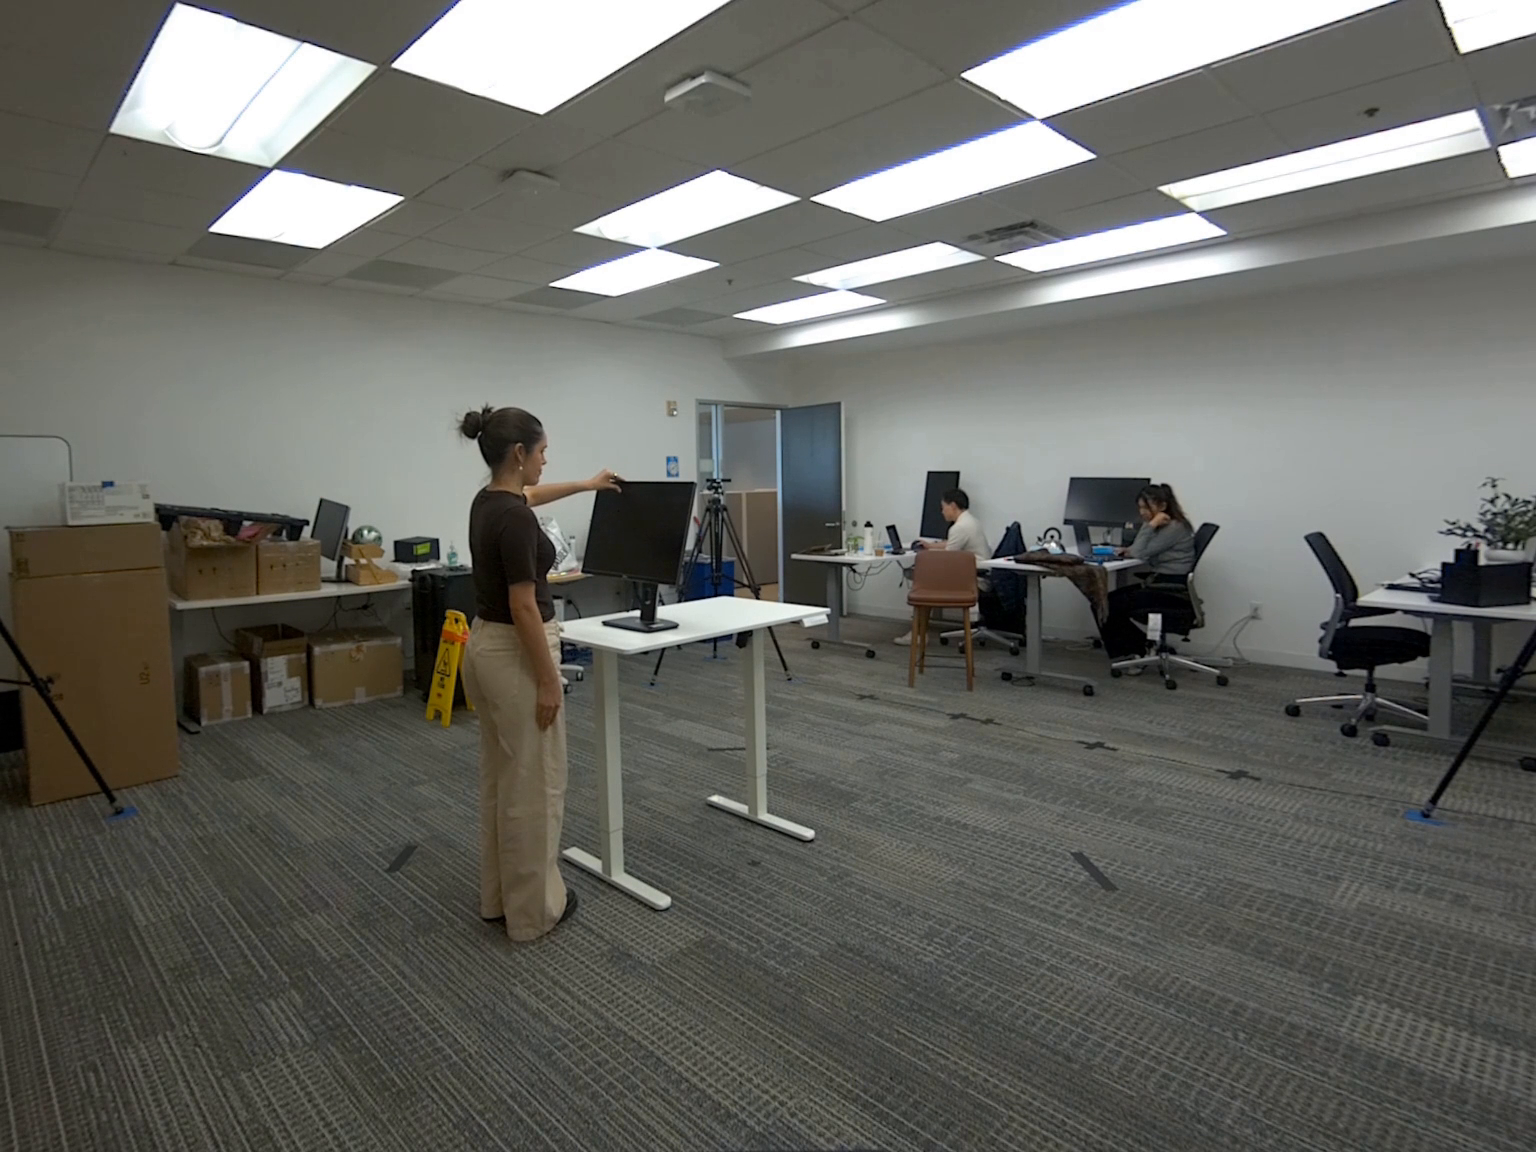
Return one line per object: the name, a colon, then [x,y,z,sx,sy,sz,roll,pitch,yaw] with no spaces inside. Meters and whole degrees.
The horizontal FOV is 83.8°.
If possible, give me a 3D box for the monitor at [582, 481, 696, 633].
monitor: [-0.446,-0.071,3.033,0.556,0.521,0.182,4,3,42]
